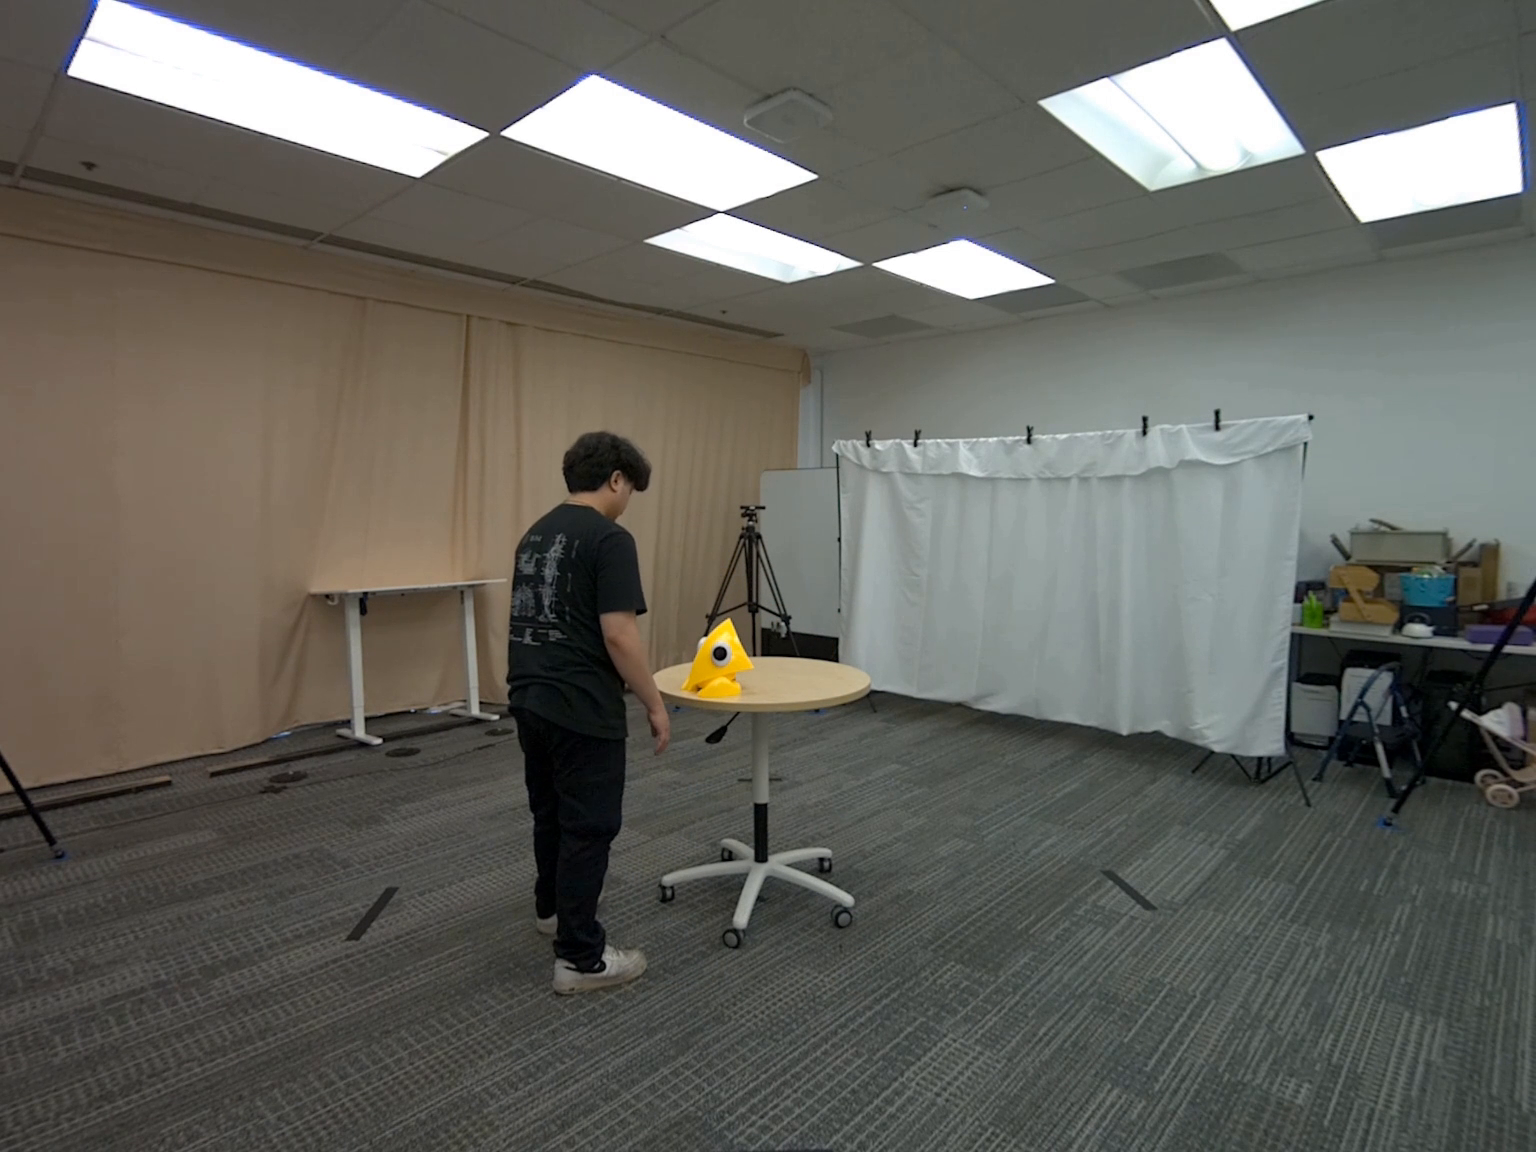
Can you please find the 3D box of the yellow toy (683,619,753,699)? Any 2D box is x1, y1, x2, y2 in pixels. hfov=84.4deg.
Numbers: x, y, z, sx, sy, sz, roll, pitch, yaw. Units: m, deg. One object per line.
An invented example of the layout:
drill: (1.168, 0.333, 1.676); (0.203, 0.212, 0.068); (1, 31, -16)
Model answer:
yellow toy: (-0.174, 0.260, 2.740); (0.188, 0.230, 0.211); (-3, 5, -32)
